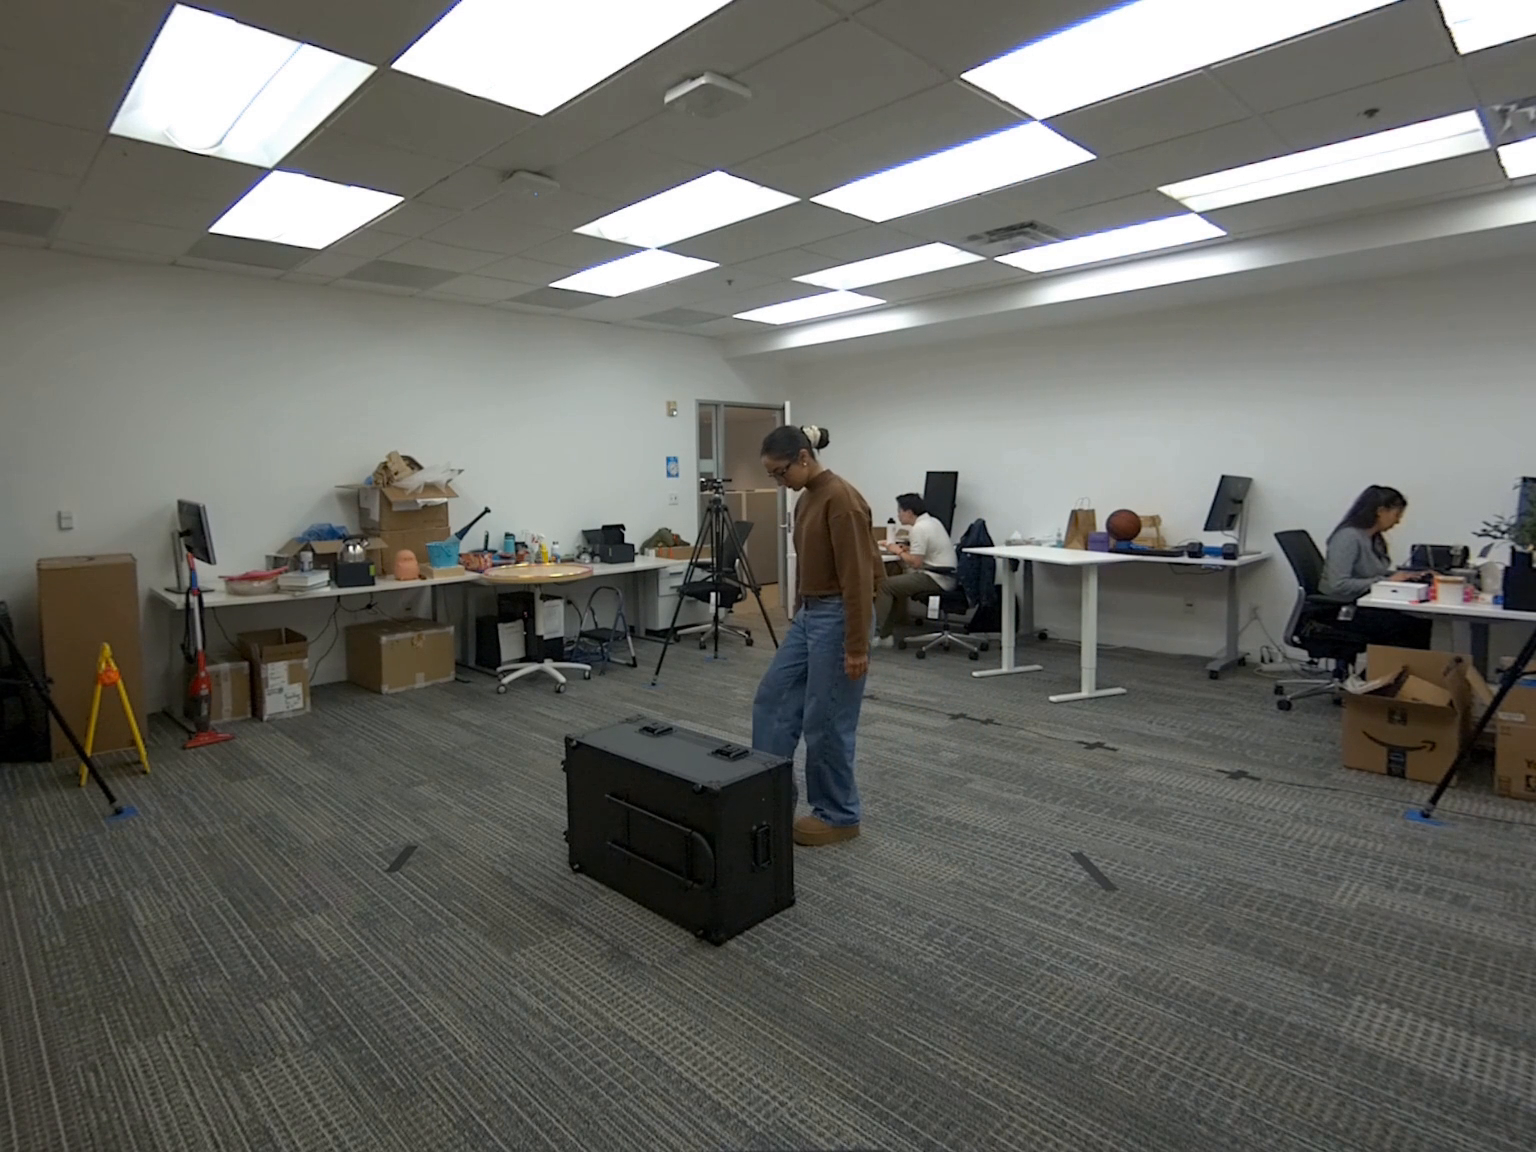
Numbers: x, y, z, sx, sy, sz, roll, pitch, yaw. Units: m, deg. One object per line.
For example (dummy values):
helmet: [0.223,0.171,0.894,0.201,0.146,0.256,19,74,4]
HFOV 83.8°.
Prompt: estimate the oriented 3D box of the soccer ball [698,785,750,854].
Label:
soccer ball: [-0.170,0.924,3.266,0.187,0.187,0.188,-1,5,-2]
